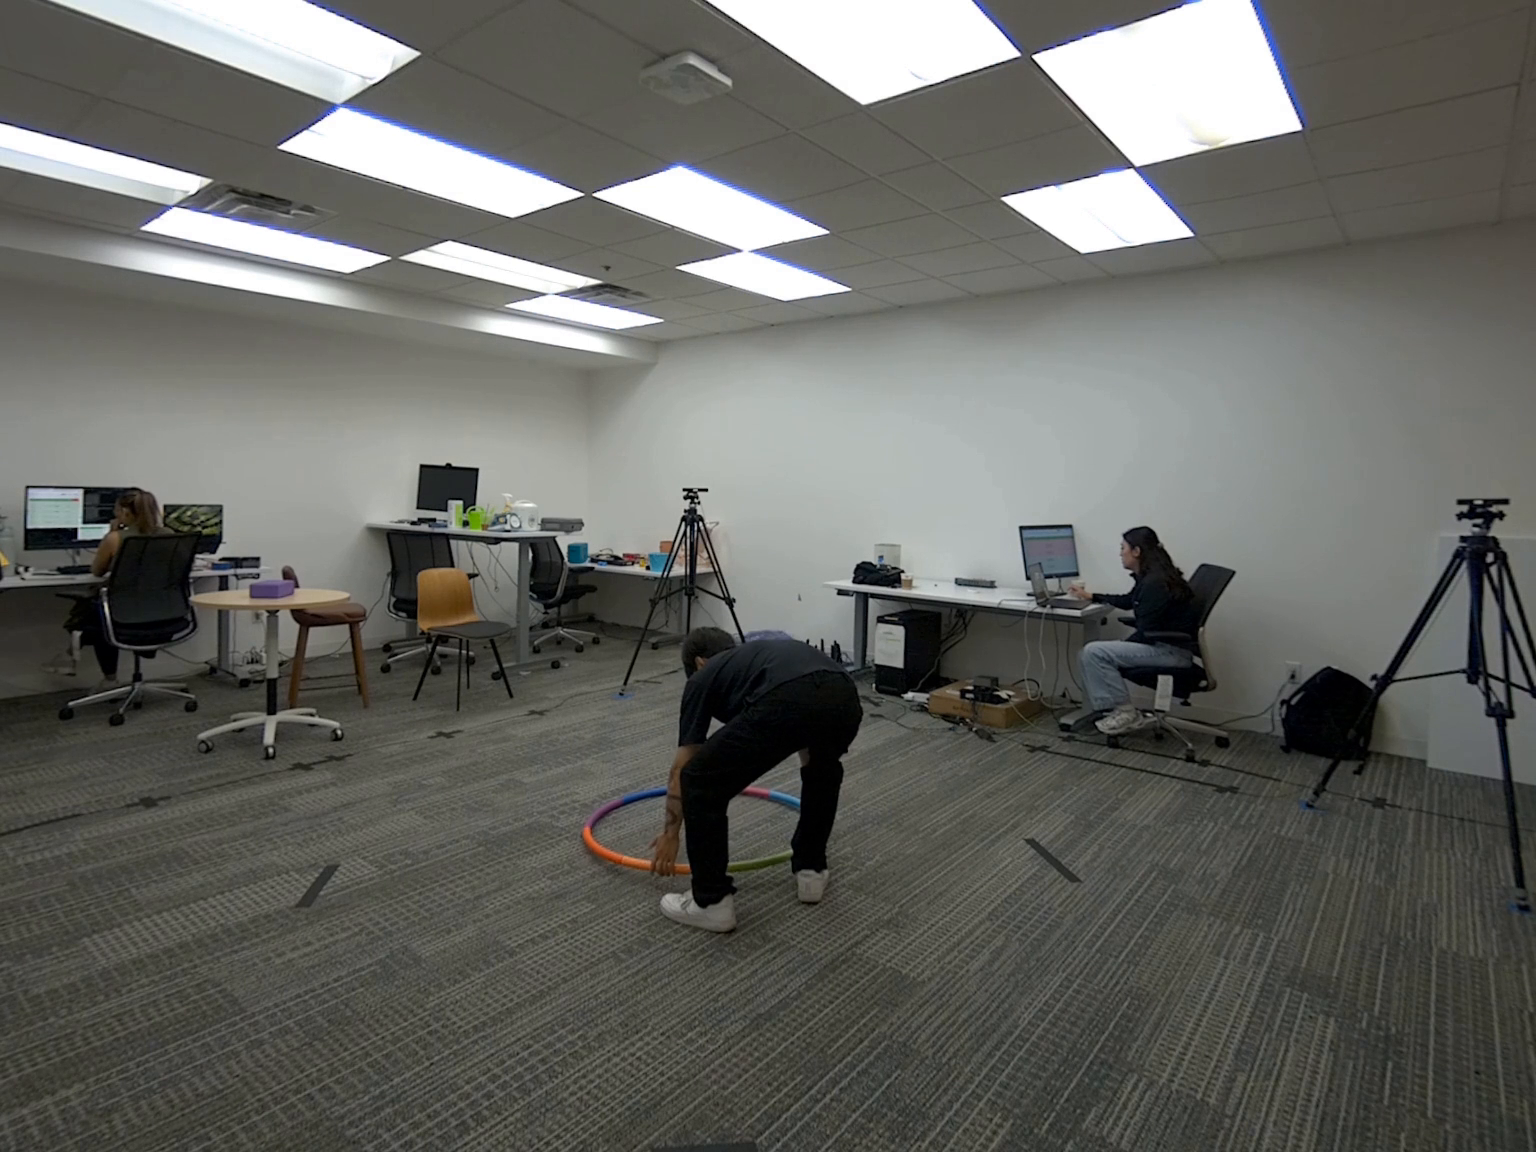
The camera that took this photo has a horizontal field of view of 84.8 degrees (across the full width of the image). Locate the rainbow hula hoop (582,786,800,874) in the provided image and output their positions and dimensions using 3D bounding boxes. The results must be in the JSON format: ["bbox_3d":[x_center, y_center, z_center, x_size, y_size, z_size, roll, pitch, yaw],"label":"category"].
[{"bbox_3d":[-0.264,0.988,3.432,0.978,0.035,0.981,-1,3,-2],"label":"rainbow hula hoop"}]
